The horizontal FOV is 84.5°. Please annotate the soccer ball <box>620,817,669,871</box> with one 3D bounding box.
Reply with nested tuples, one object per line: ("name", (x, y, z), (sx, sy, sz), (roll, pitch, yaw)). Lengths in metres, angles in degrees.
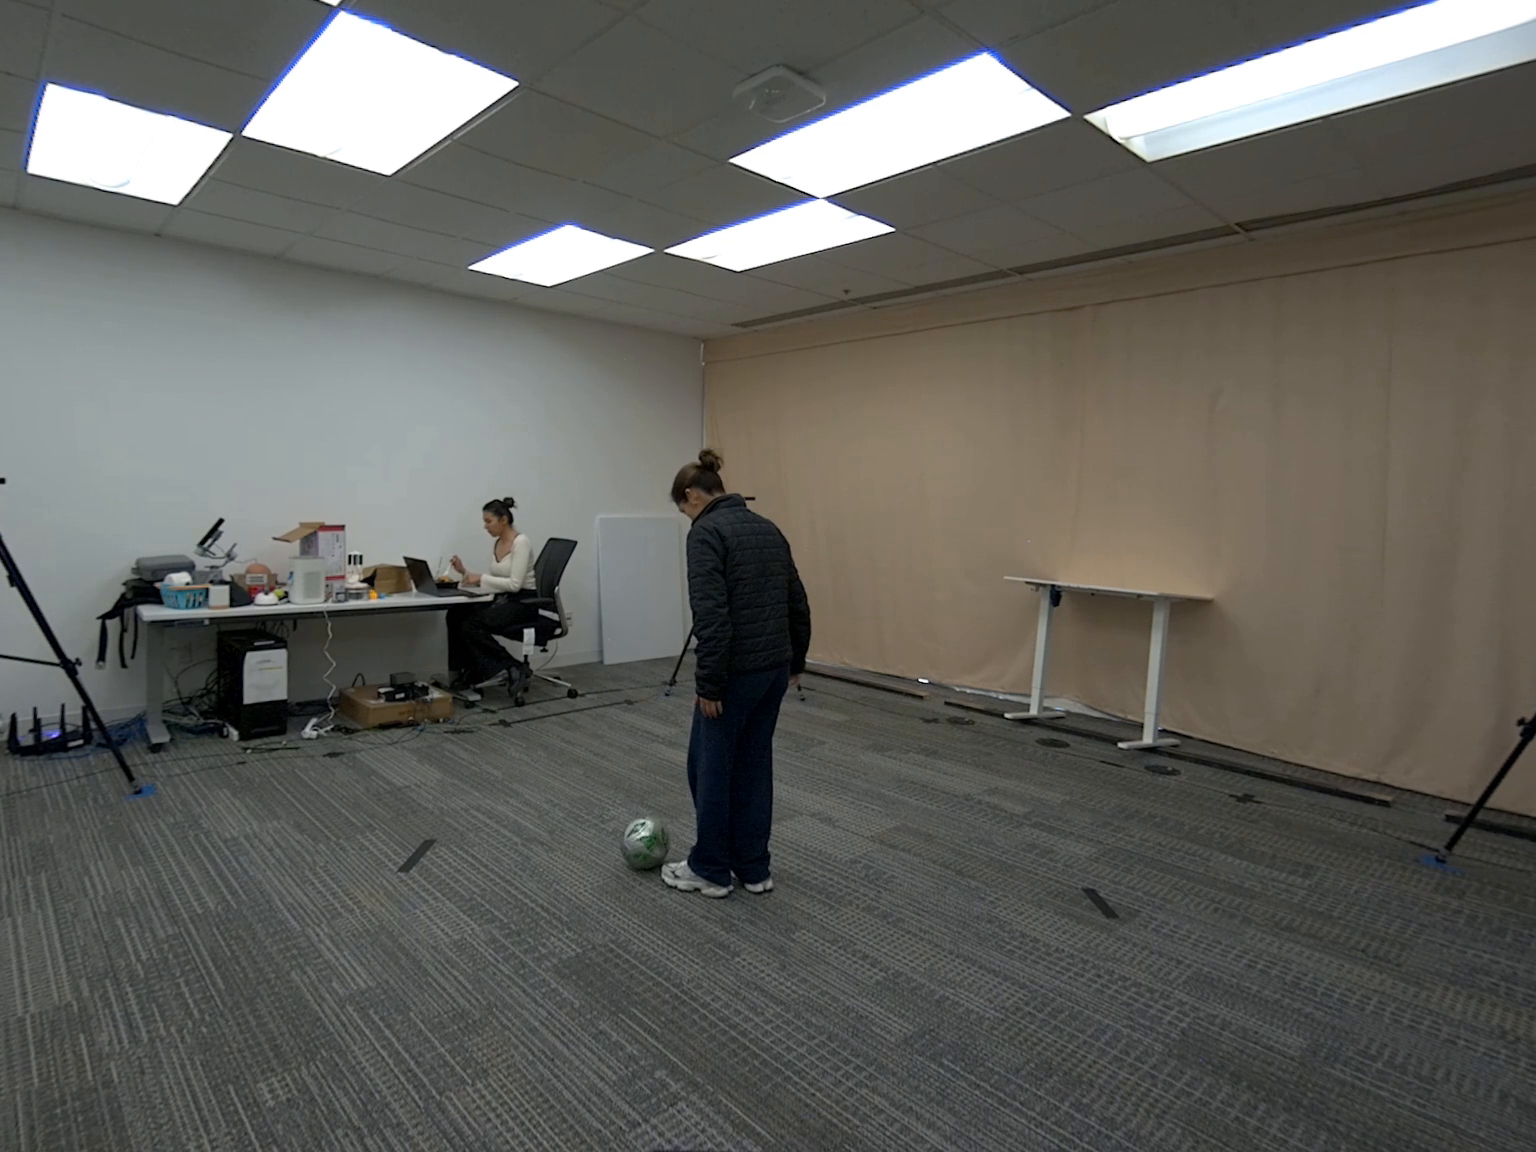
("soccer ball", (-0.466, 0.998, 3.161), (0.187, 0.187, 0.188), (1, 4, -1))
